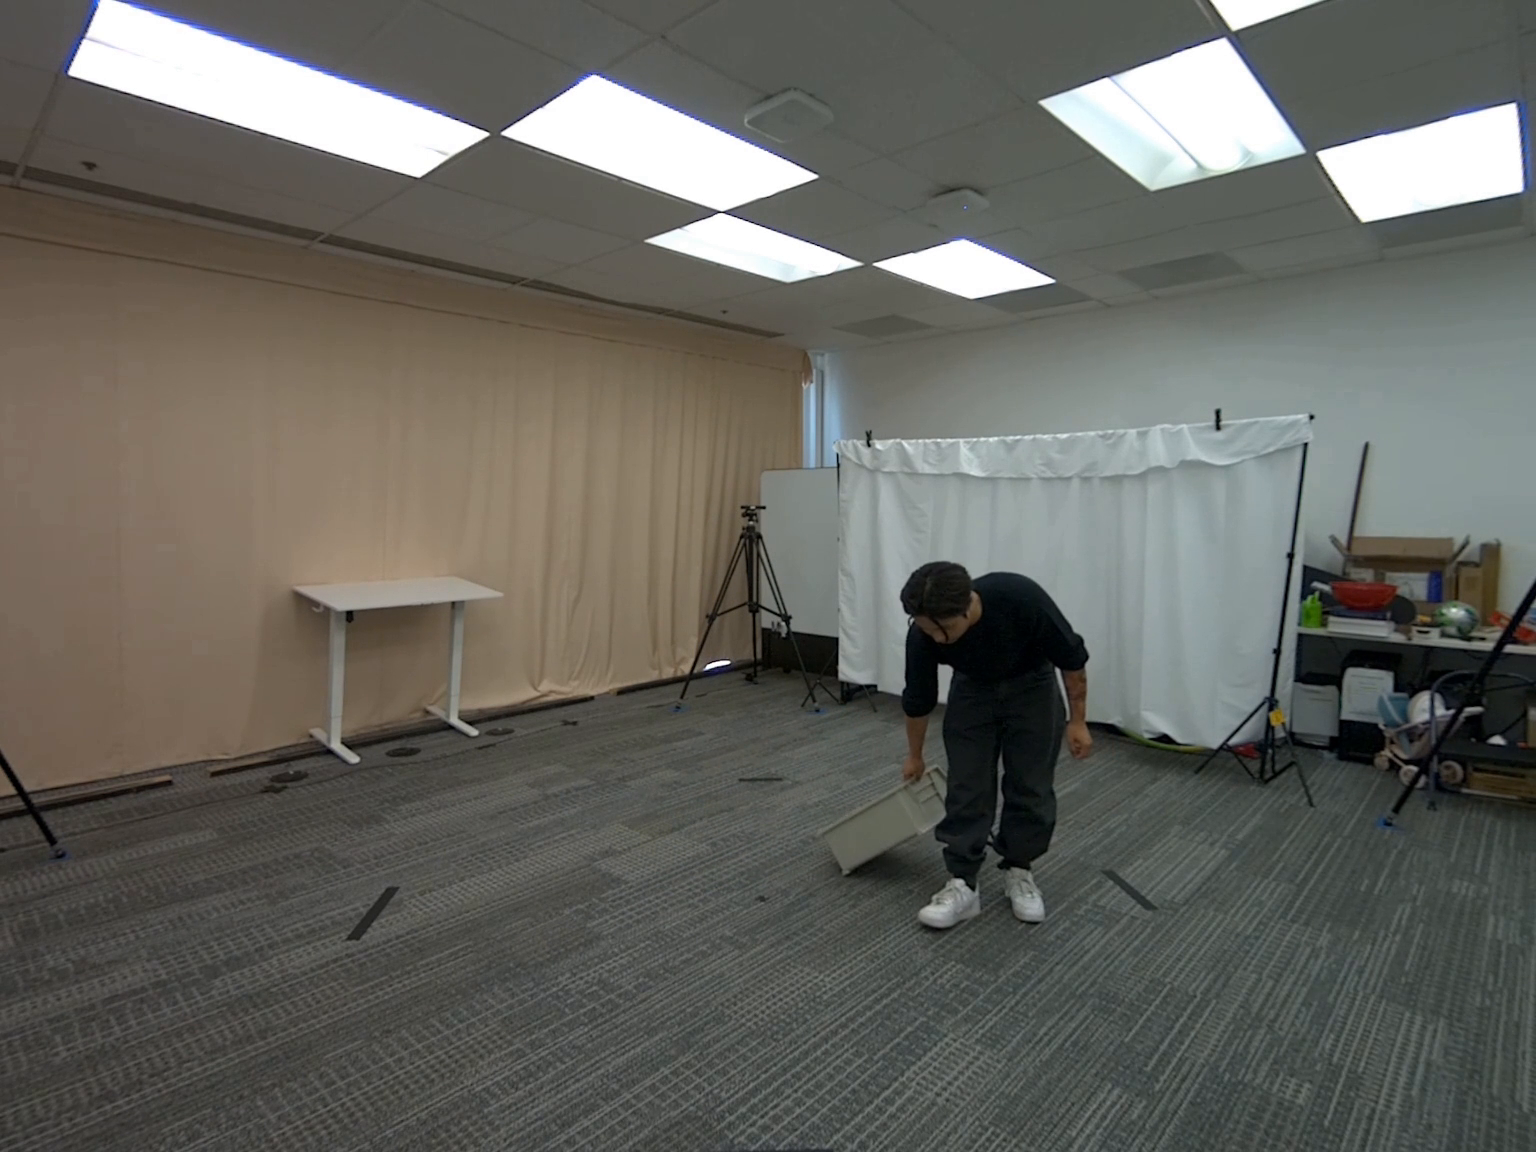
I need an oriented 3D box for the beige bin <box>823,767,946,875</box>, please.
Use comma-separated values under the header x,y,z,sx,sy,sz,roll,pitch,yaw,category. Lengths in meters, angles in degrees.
x,y,z,sx,sy,sz,roll,pitch,yaw,category
0.473,0.927,3.215,0.427,0.192,0.366,-40,-19,32,beige bin
